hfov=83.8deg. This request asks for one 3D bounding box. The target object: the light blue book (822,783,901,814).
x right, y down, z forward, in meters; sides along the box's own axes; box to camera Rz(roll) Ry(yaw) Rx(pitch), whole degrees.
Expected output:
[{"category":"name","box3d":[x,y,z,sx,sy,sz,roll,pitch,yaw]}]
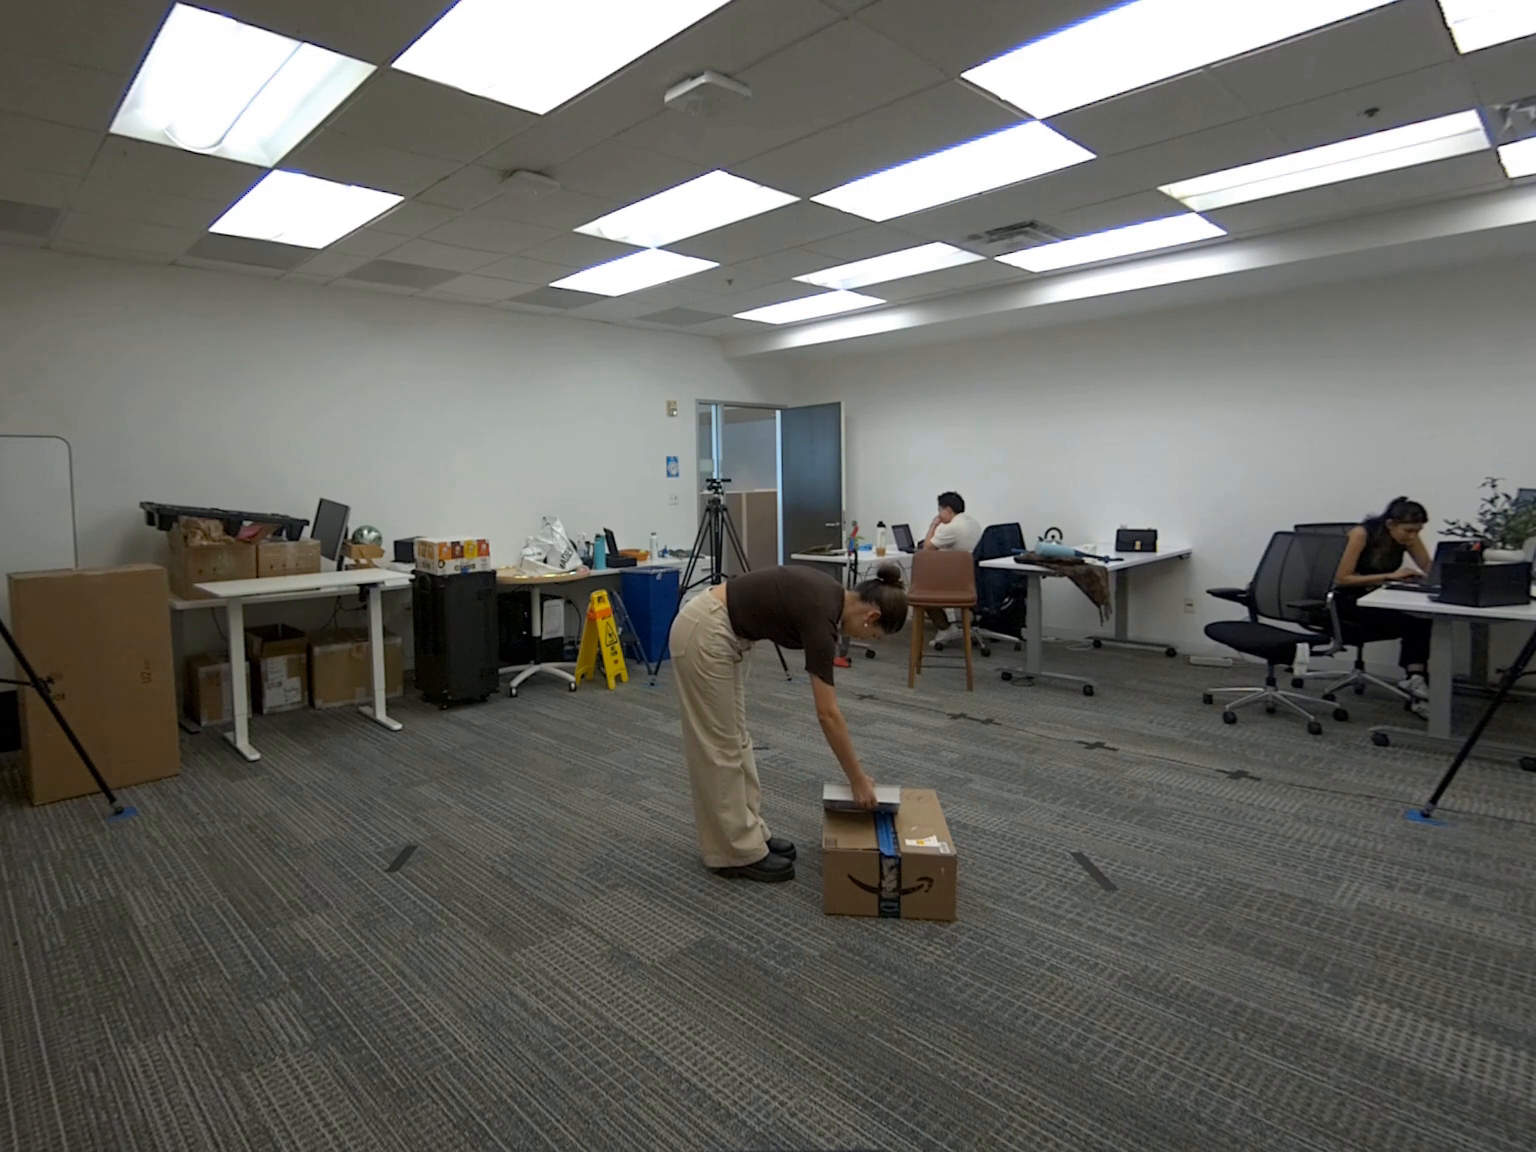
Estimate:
[{"category":"light blue book","box3d":[0.319,0.766,2.962,0.263,0.060,0.186,1,-25,7]}]
